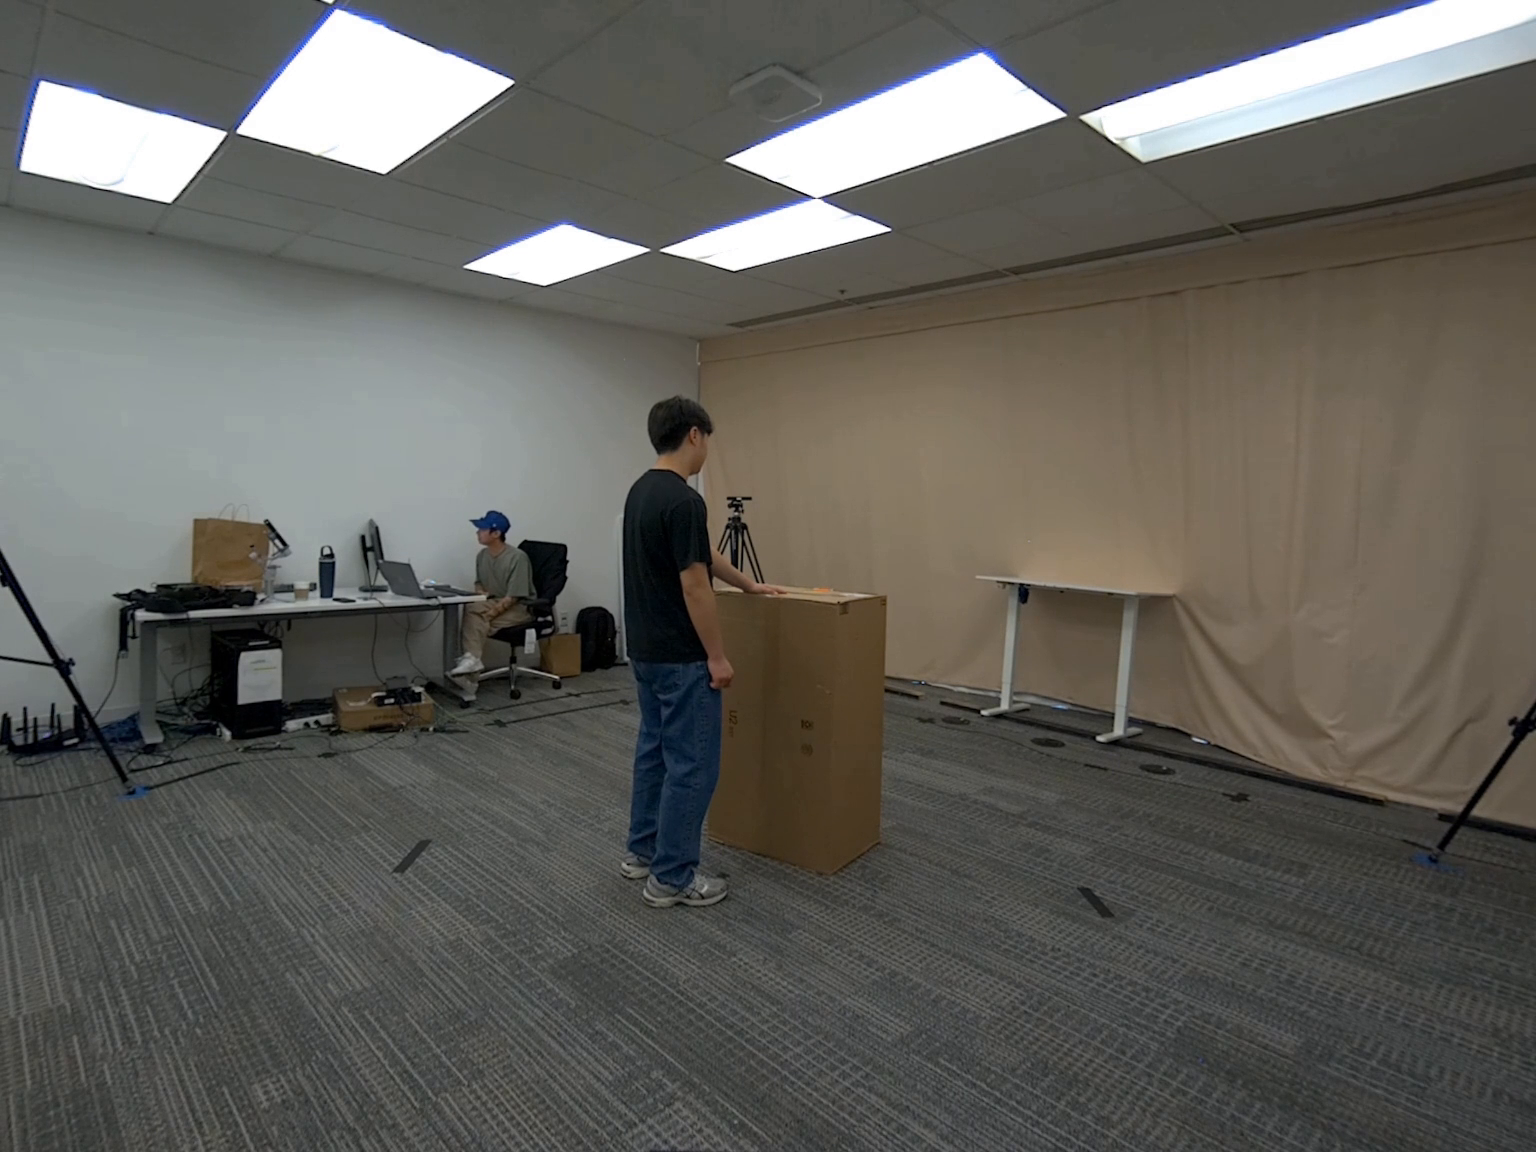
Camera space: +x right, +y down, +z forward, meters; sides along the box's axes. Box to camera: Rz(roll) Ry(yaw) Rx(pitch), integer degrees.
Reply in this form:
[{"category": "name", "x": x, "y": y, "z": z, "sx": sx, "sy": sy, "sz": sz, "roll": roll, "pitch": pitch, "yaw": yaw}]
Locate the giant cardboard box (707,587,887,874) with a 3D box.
[{"category": "giant cardboard box", "x": 0.119, "y": 0.573, "z": 3.432, "sx": 0.598, "sy": 1.025, "sz": 0.437, "roll": 4, "pitch": 3, "yaw": 36}]
